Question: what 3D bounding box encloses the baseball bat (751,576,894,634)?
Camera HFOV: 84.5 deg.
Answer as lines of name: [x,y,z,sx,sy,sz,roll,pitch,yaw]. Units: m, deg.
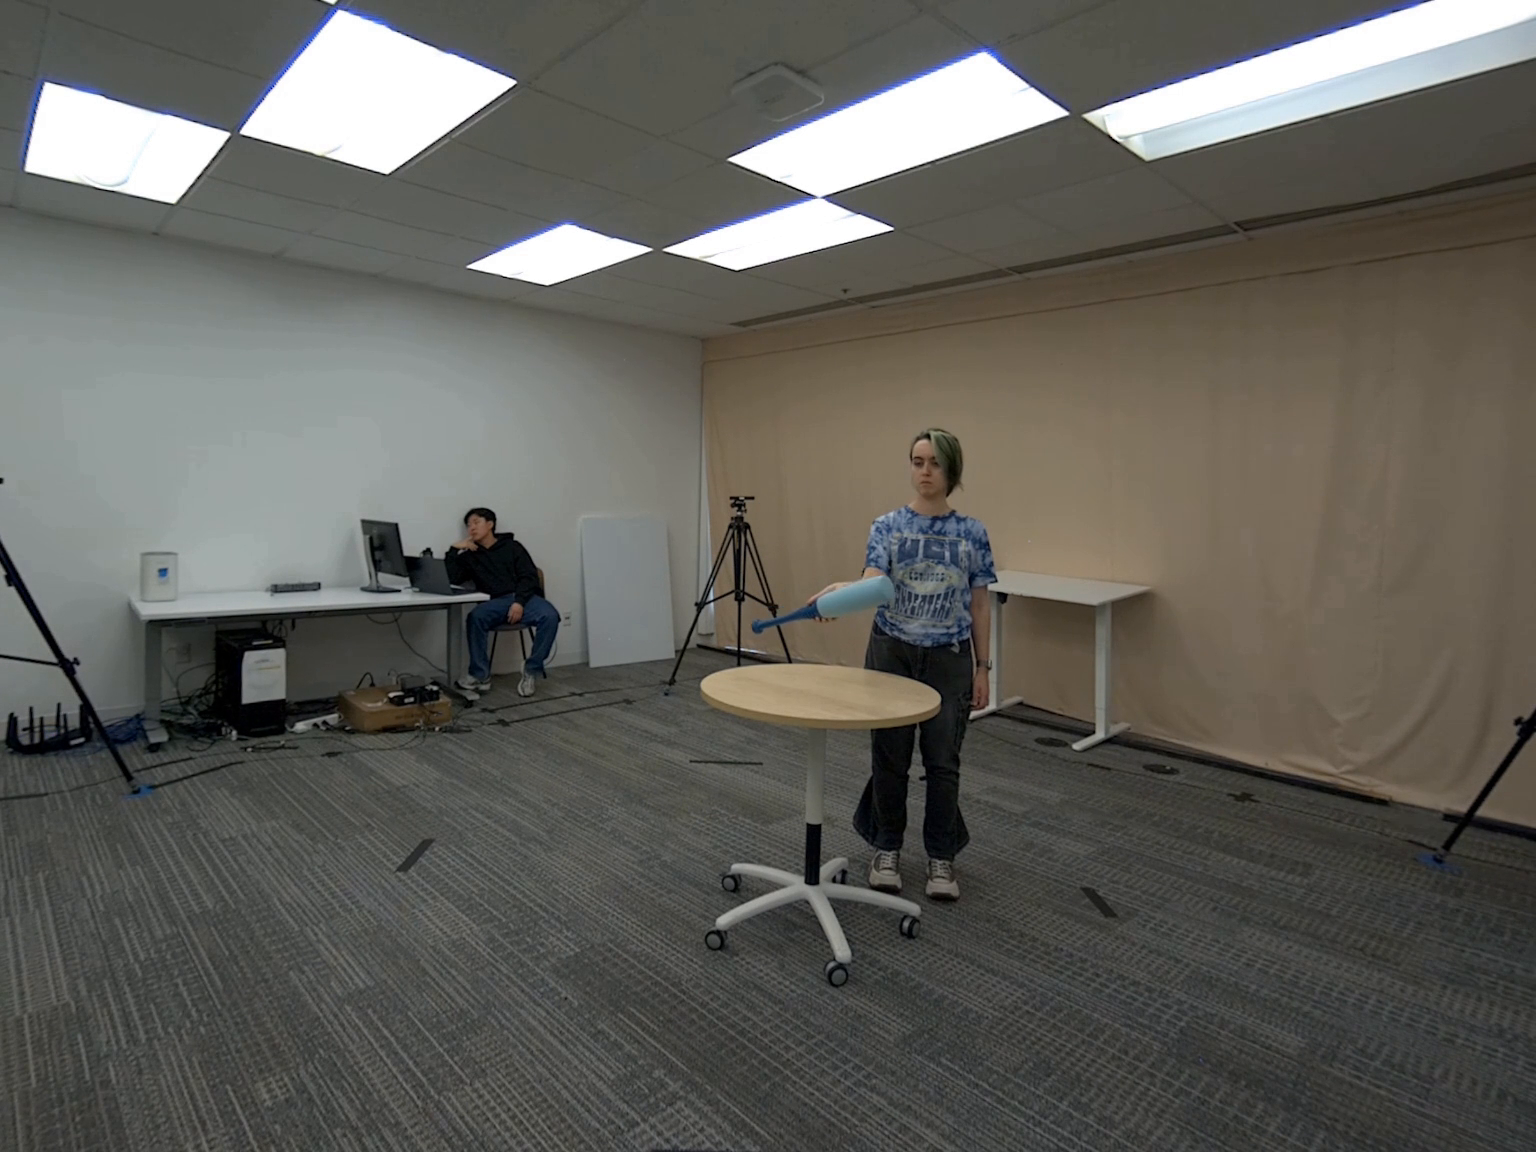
baseball bat: [0.156,0.107,2.679,0.550,0.090,0.087,-20,-10,37]
